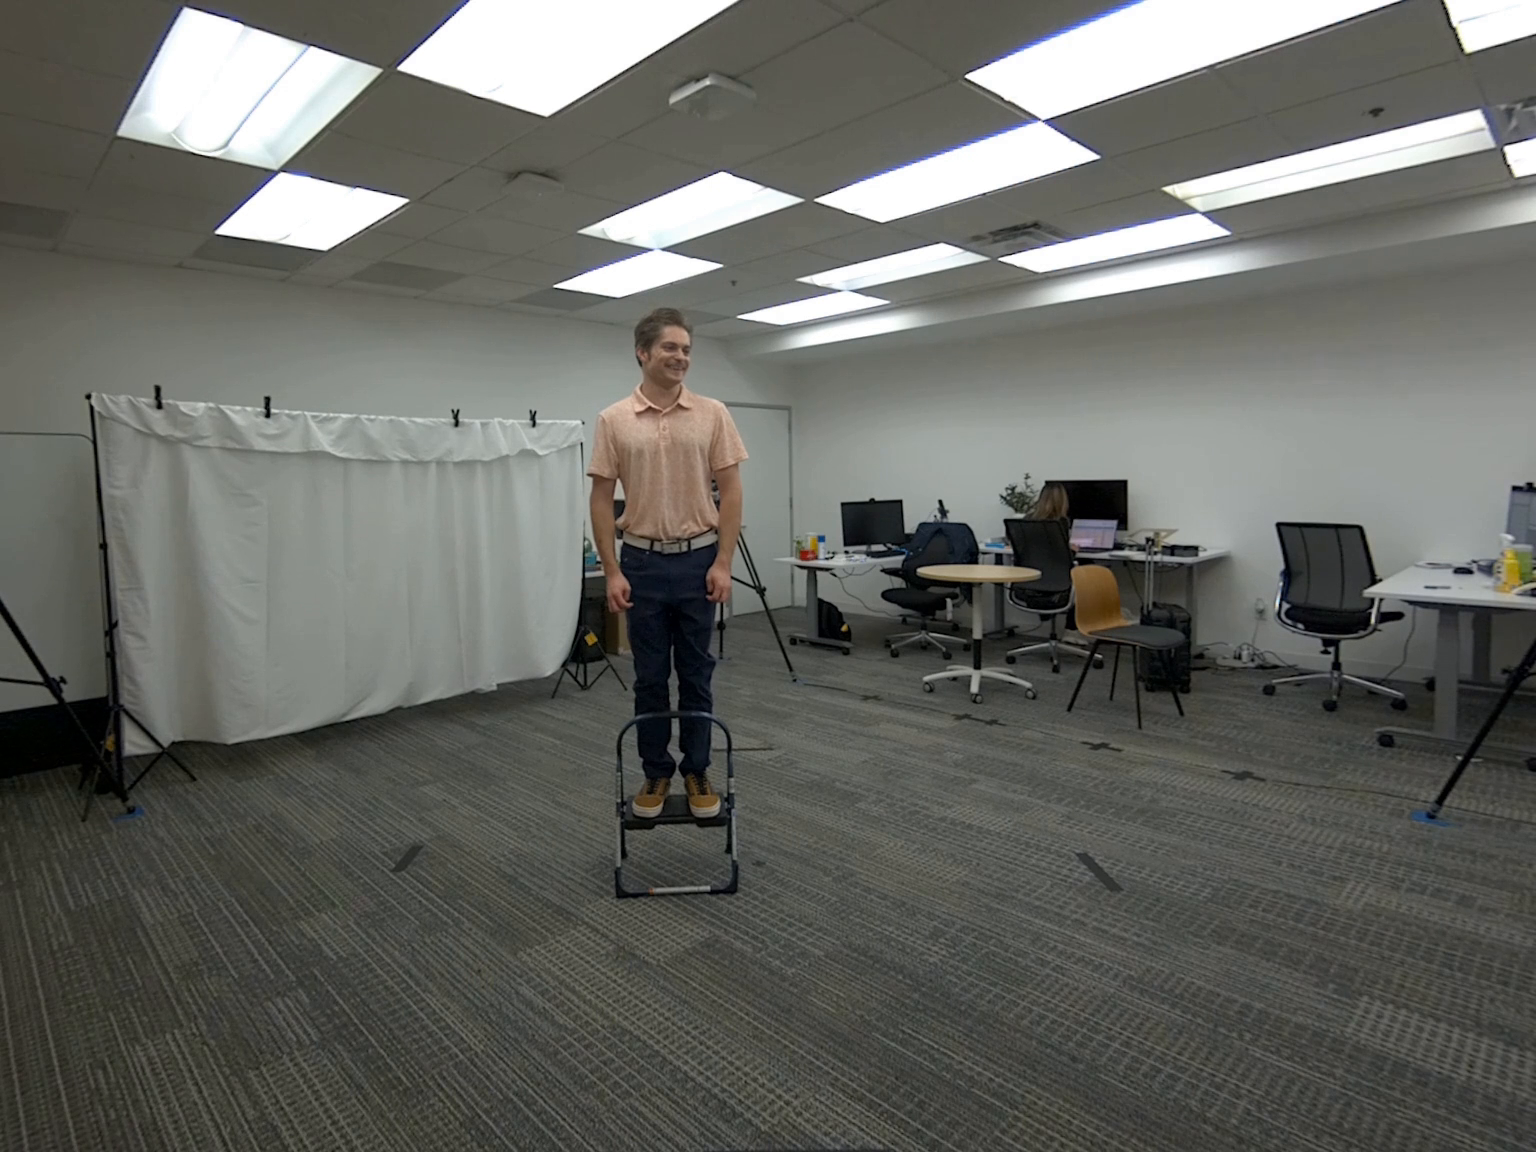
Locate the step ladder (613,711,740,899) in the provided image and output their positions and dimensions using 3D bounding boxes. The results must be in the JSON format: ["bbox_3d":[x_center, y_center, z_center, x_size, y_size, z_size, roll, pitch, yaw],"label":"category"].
[{"bbox_3d":[-0.328,0.763,3.025,0.429,0.604,0.352,-2,4,-5],"label":"step ladder"}]
